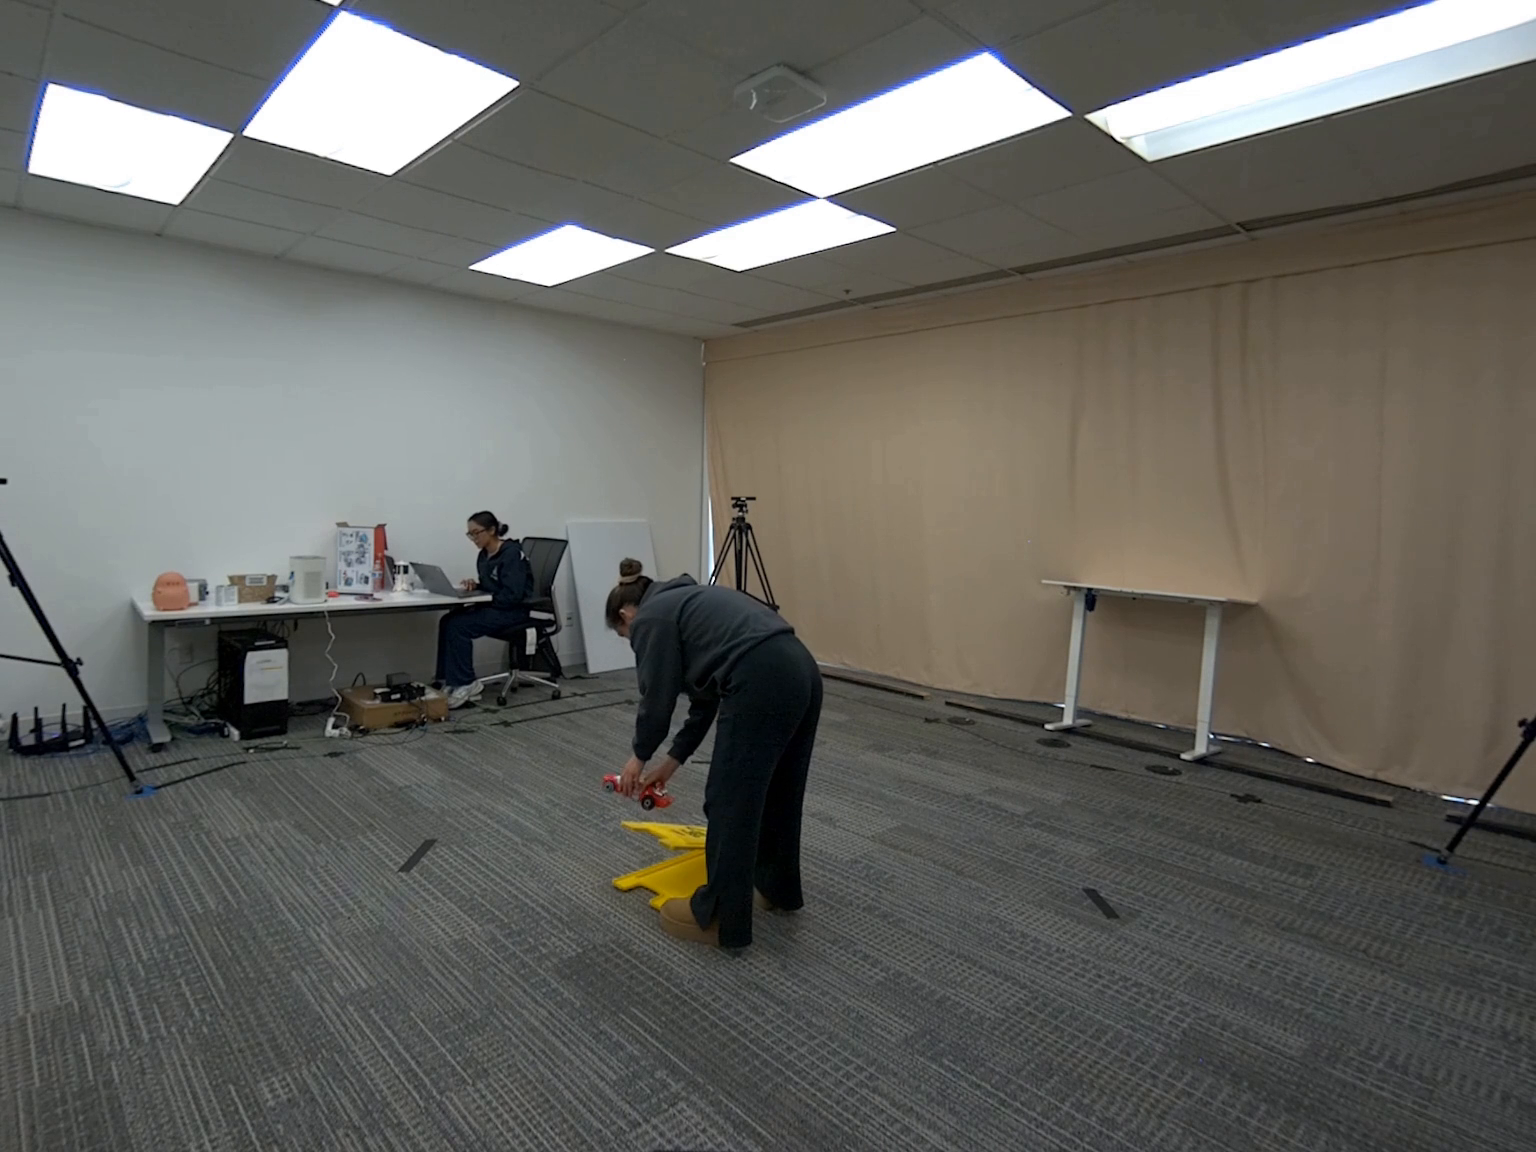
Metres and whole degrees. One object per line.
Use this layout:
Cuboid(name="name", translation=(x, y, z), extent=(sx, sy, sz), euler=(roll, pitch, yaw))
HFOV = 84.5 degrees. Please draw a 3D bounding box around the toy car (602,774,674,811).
Cuboid(name="toy car", translation=(-0.434, 0.731, 2.850), extent=(0.257, 0.083, 0.128), euler=(8, -6, 10))
